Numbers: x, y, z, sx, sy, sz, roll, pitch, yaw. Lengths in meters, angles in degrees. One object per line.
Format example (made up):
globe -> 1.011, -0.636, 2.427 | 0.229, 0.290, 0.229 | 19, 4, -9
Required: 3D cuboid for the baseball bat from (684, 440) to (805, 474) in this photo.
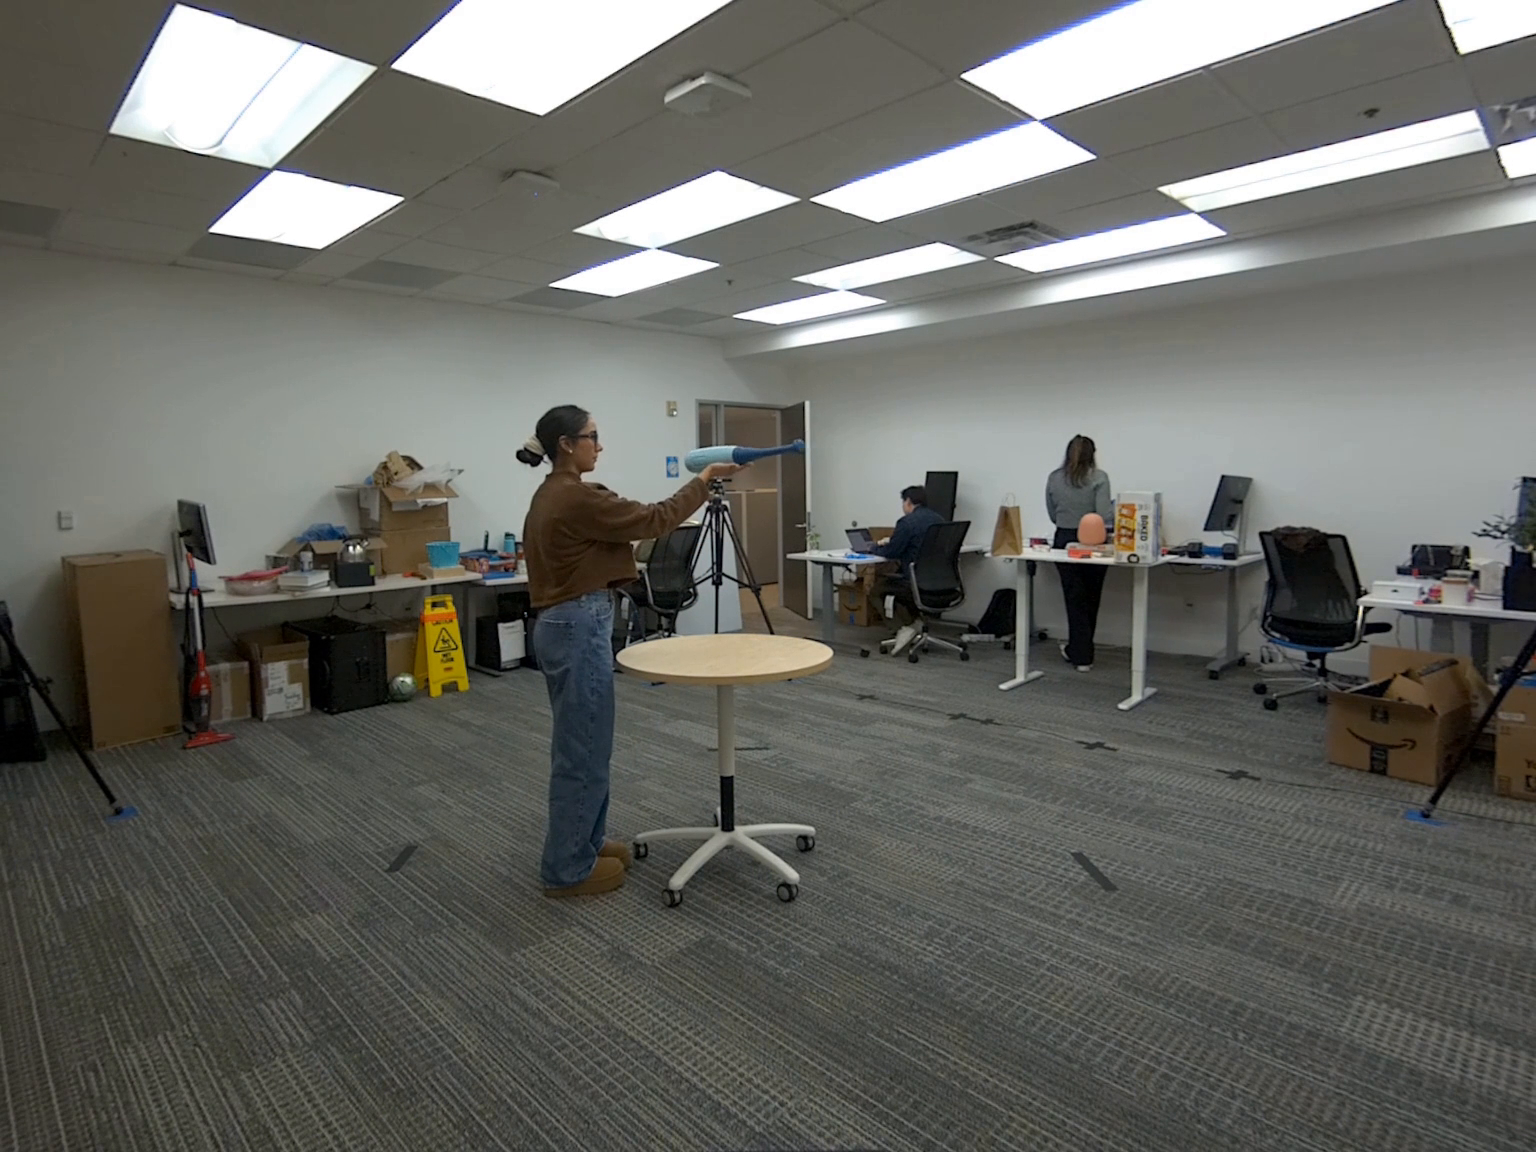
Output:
baseball bat -> -0.089, -0.426, 3.028 | 0.559, 0.089, 0.087 | 0, 4, 44
